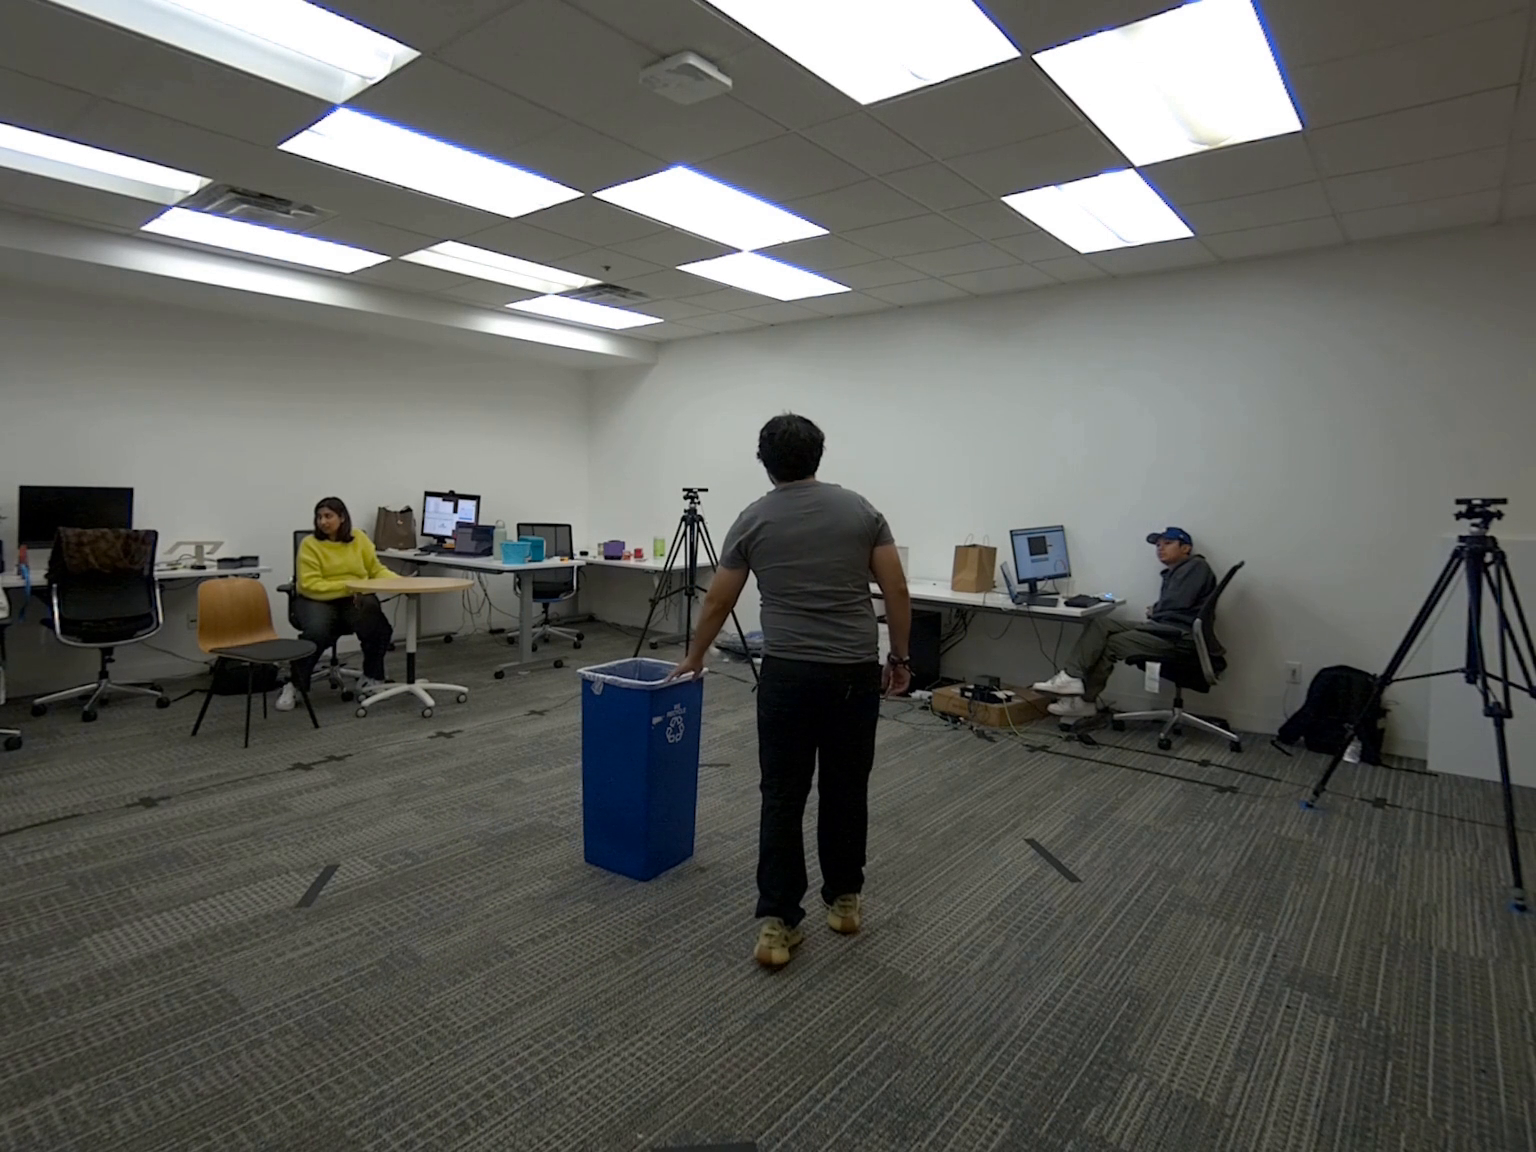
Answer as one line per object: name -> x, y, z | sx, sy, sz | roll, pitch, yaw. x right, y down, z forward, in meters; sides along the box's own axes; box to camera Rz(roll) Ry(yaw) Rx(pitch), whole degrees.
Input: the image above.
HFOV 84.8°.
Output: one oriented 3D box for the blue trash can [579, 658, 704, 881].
blue trash can -> -0.483, 0.699, 3.190 | 0.390, 0.712, 0.364 | 3, 4, 33
